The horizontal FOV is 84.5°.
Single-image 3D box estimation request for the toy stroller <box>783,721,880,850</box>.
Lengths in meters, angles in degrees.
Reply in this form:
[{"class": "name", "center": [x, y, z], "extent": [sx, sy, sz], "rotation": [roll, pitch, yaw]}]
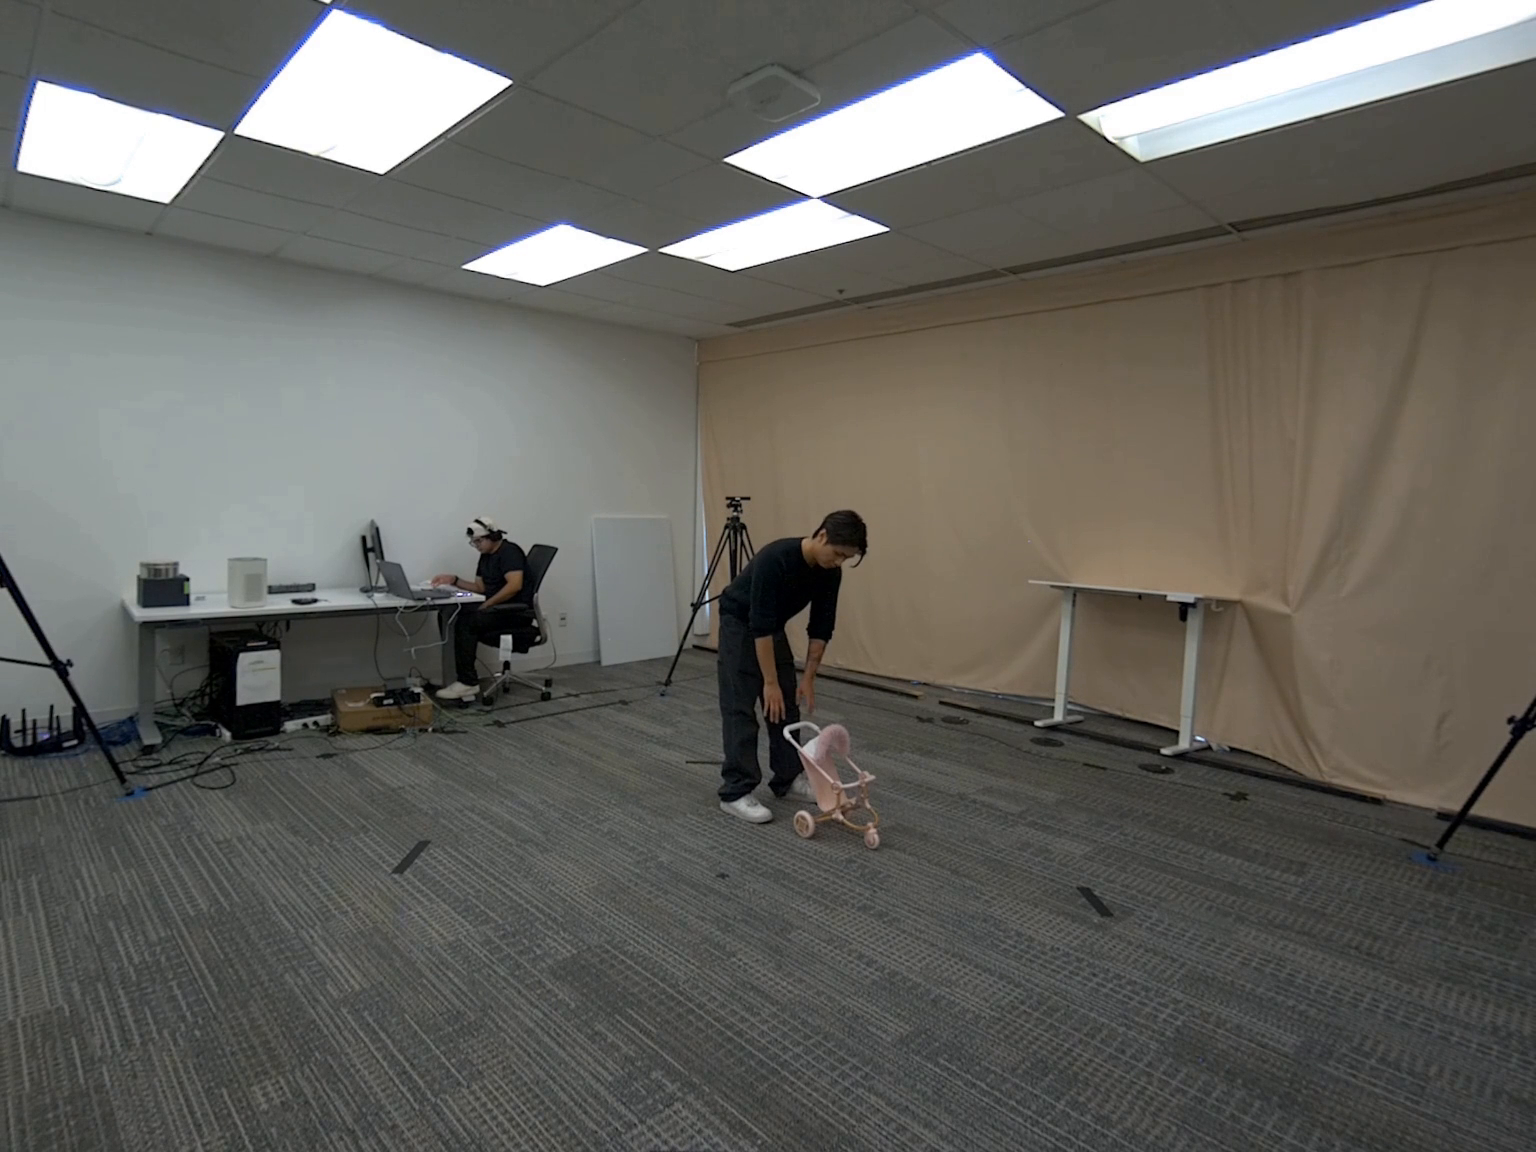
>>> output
[{"class": "toy stroller", "center": [0.273, 0.859, 3.514], "extent": [0.275, 0.540, 0.346], "rotation": [-2, -13, -41]}]
